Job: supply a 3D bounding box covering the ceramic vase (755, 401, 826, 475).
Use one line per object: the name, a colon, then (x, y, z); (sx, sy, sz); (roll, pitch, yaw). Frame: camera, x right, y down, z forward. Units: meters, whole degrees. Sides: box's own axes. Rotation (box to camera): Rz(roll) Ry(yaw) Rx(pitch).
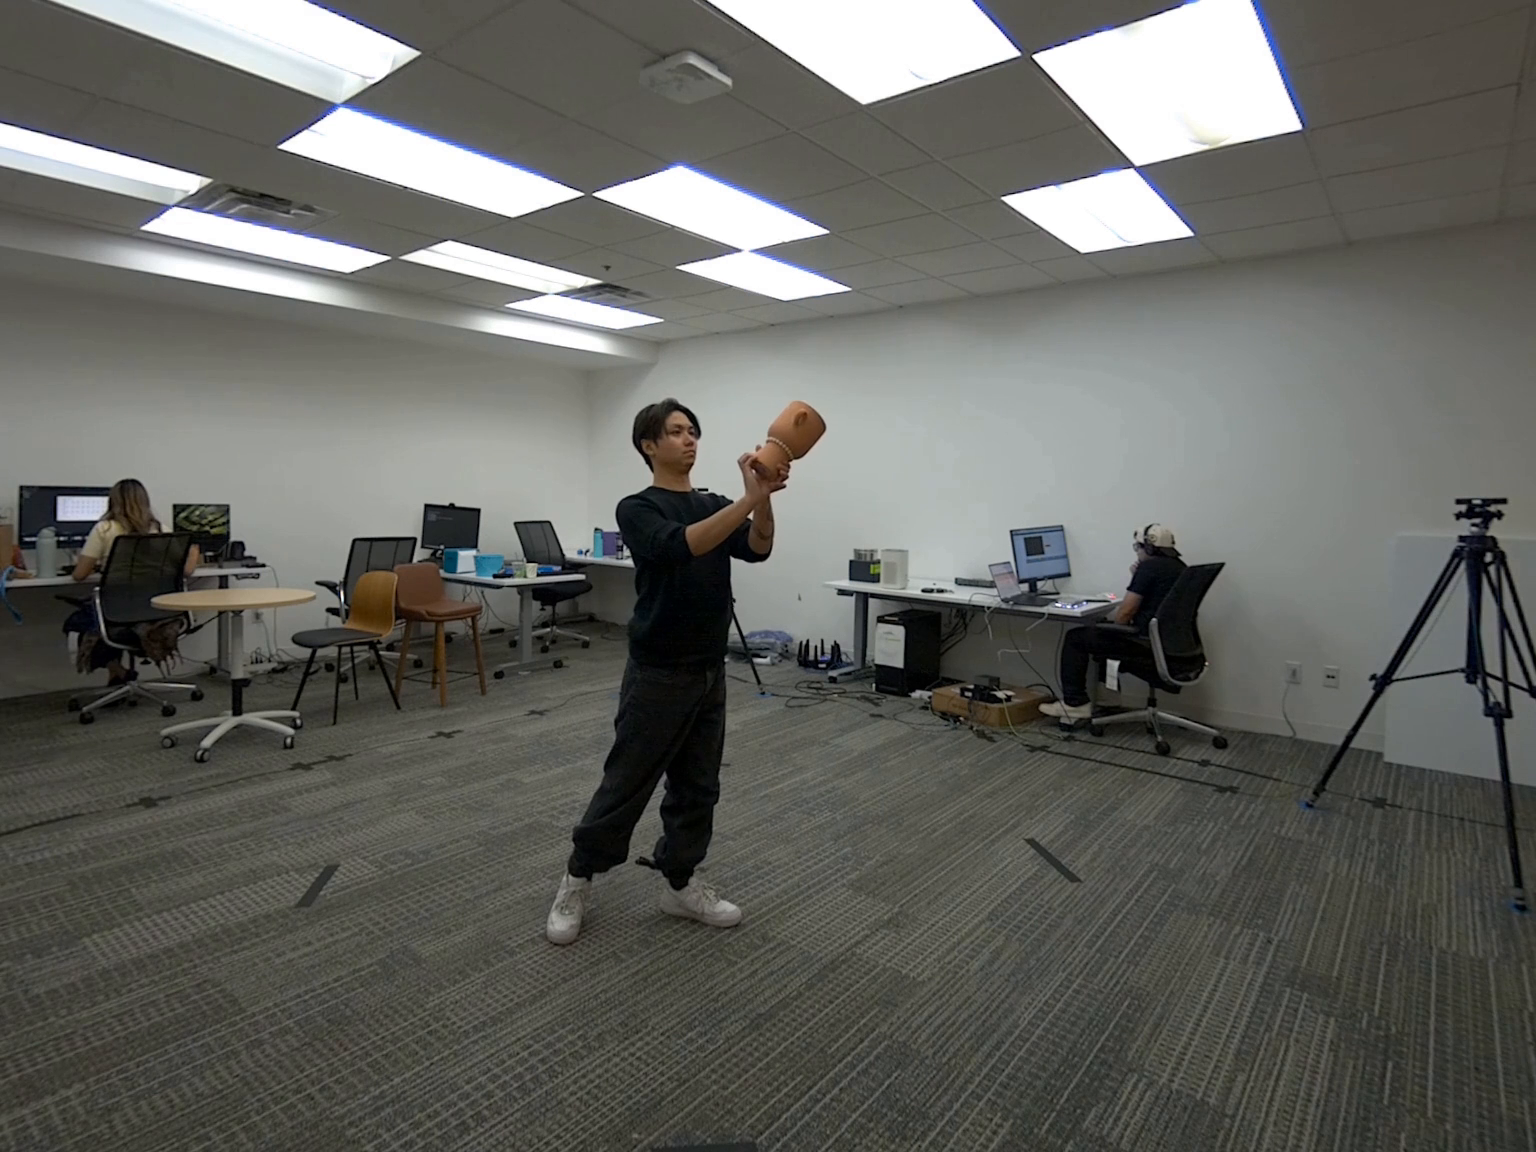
ceramic vase: (0.040, -0.386, 2.441); (0.140, 0.220, 0.152); (24, -21, 48)
